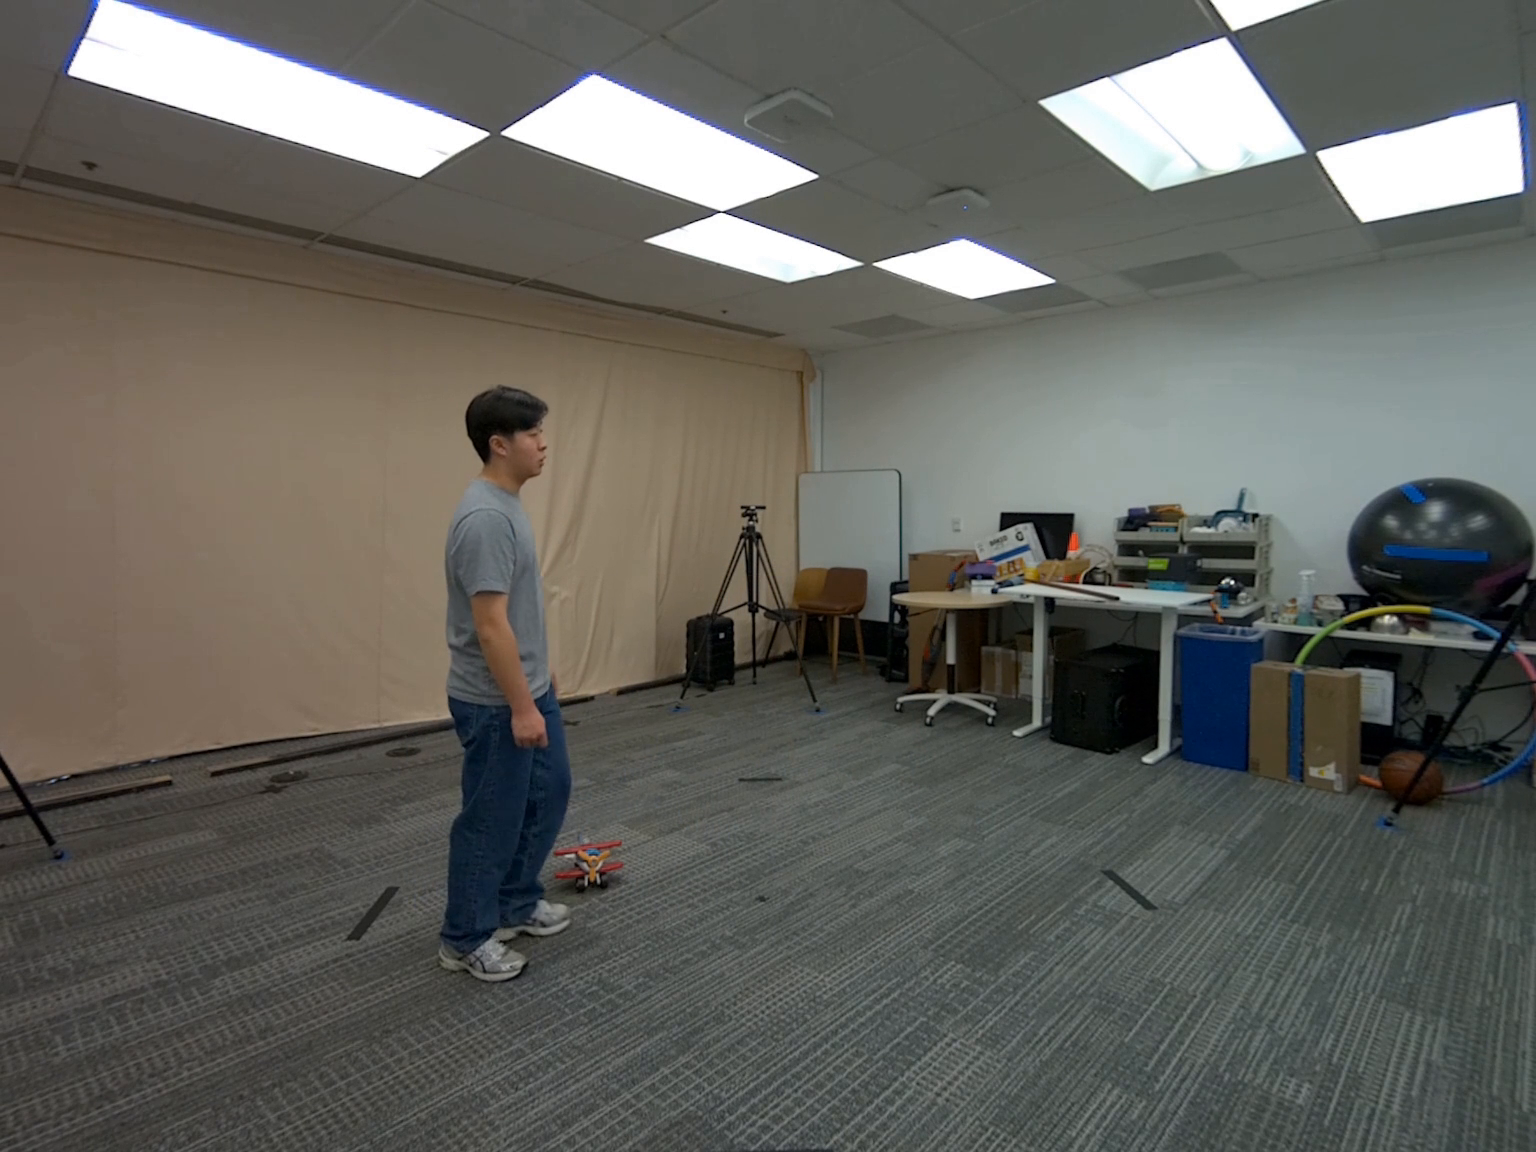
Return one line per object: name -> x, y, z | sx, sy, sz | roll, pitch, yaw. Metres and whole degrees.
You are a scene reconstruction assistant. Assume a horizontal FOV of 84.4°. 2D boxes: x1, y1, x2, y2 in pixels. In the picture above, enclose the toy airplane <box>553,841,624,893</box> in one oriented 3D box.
toy airplane -> -0.696, 1.066, 3.132 | 0.268, 0.156, 0.243 | 4, 5, 40
